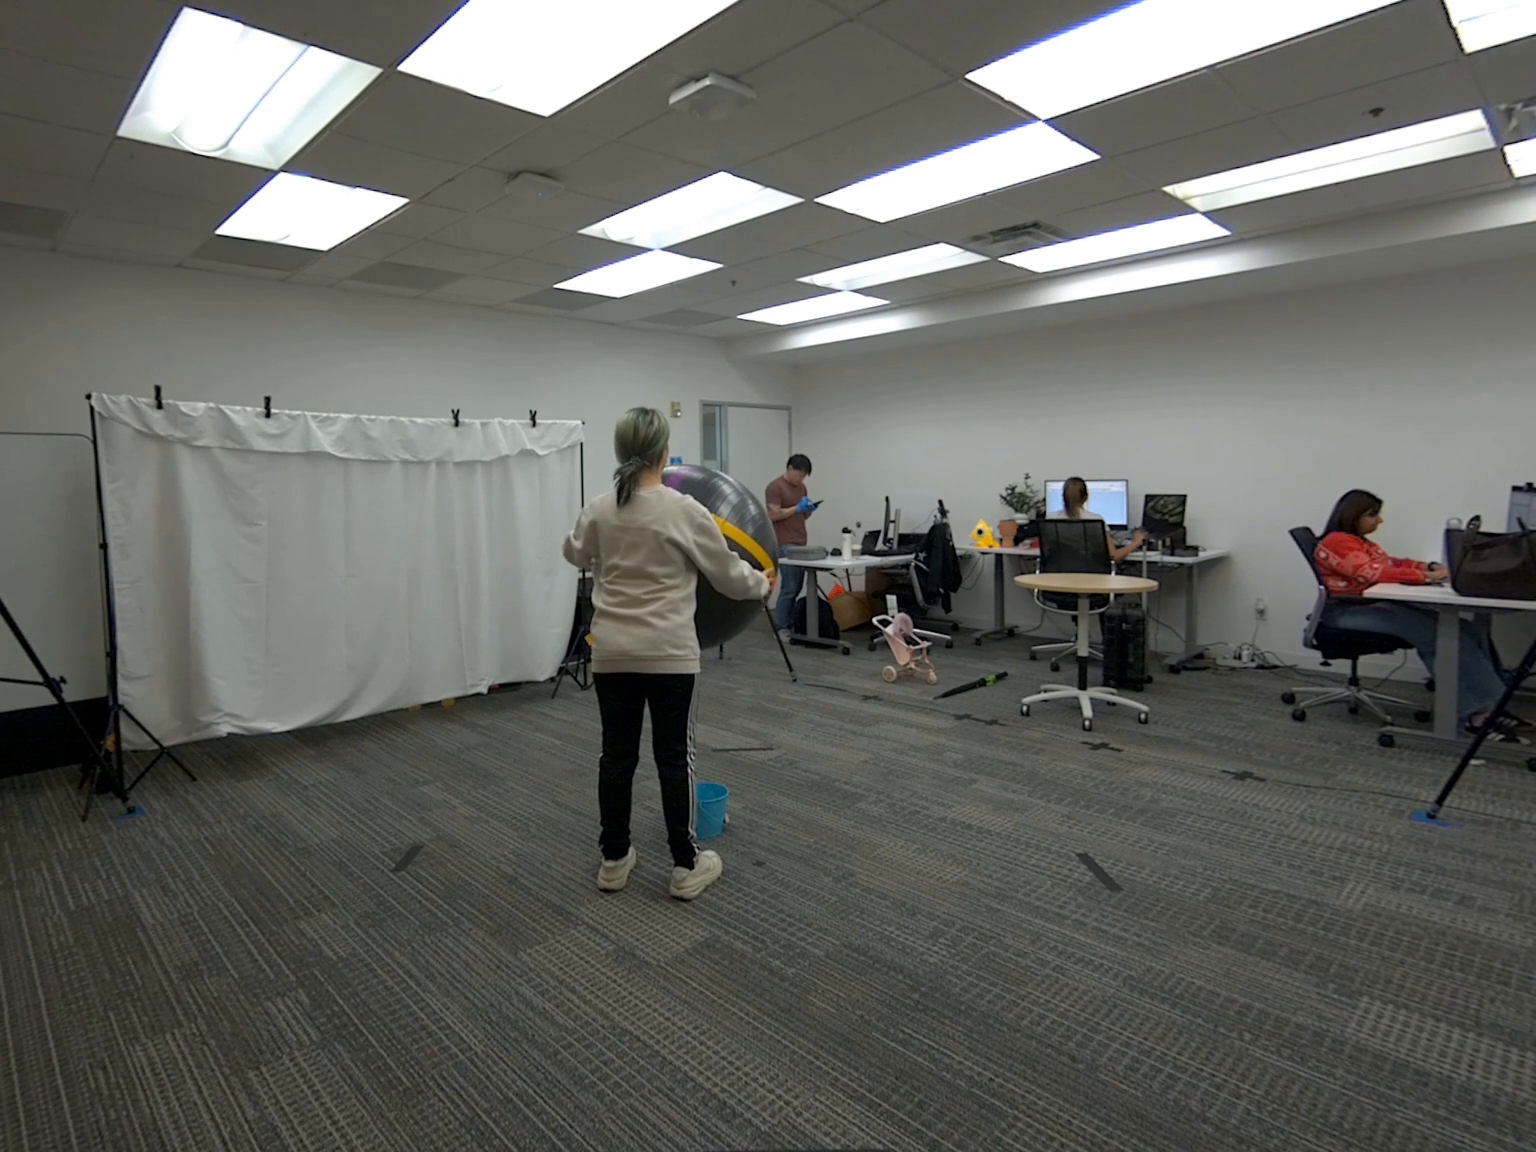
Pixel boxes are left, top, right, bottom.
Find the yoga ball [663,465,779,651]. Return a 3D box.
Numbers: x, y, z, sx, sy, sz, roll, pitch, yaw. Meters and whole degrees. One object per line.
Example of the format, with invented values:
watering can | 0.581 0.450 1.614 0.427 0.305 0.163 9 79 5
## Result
yoga ball | -0.342 -0.066 3.468 0.757 0.755 0.762 -1 5 -2
